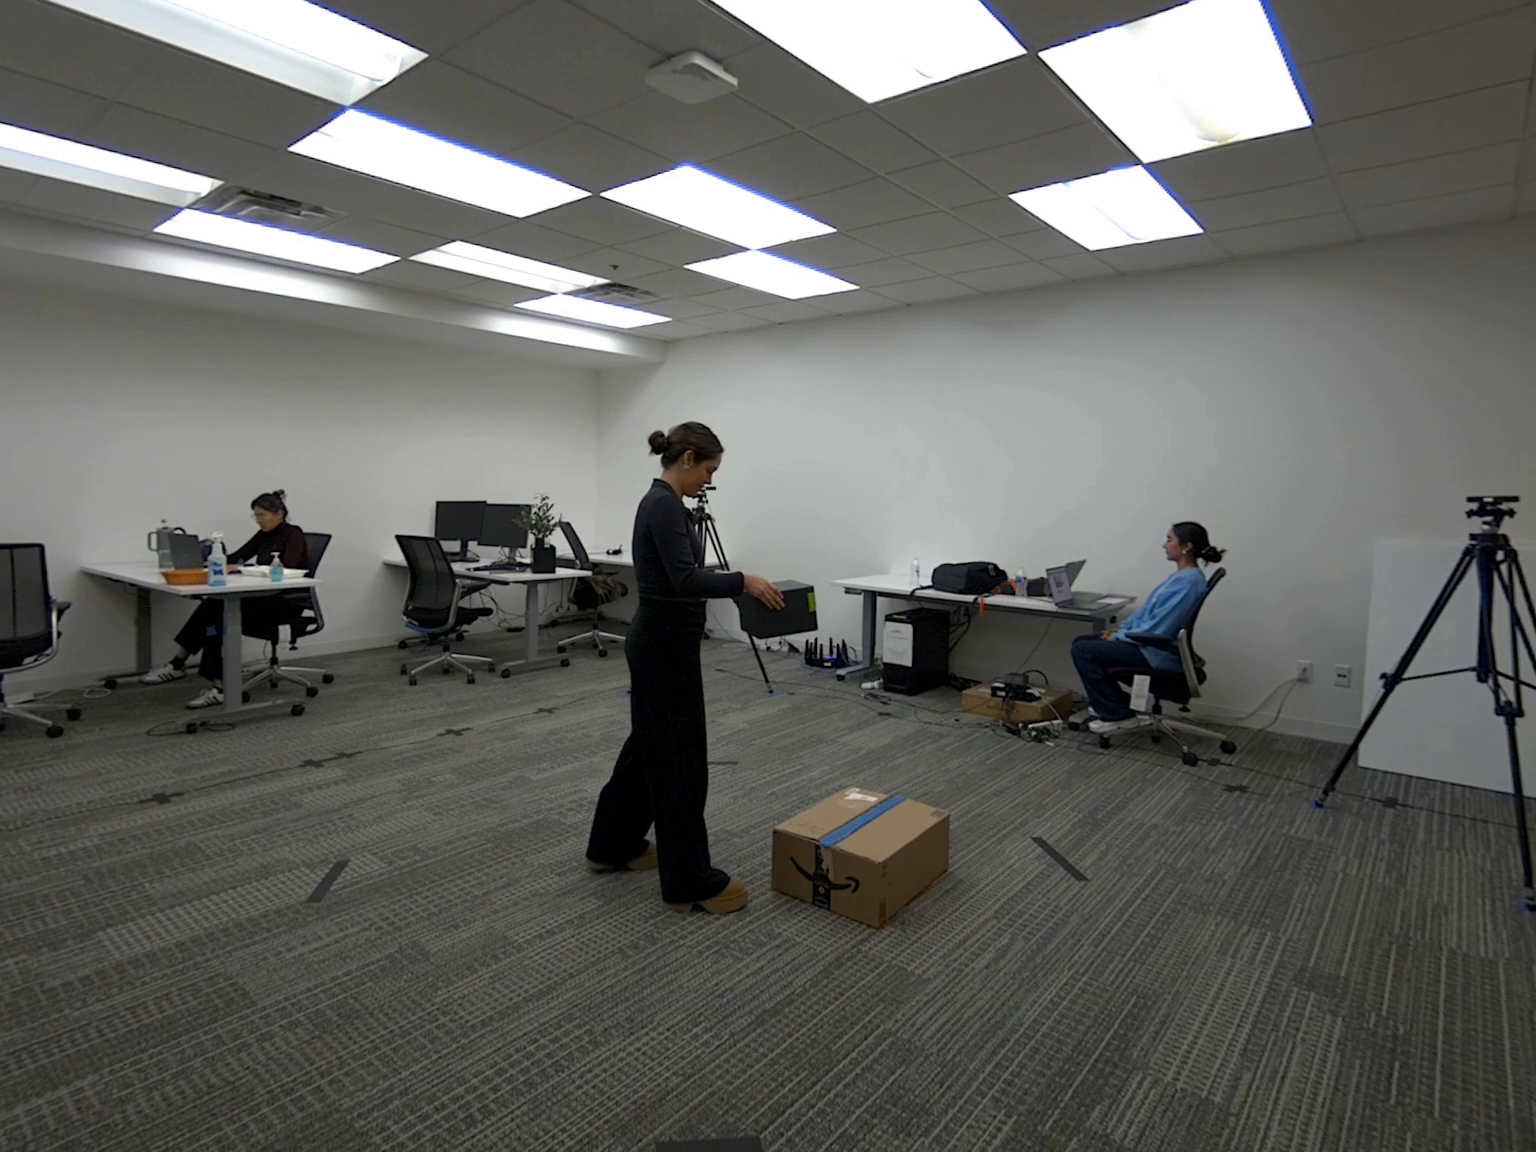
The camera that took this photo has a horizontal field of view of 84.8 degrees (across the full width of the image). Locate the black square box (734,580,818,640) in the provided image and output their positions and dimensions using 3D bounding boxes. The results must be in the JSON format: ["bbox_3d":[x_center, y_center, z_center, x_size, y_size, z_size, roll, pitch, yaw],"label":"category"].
[{"bbox_3d":[0.023,0.110,2.992,0.214,0.155,0.232,-6,6,-14],"label":"black square box"}]
